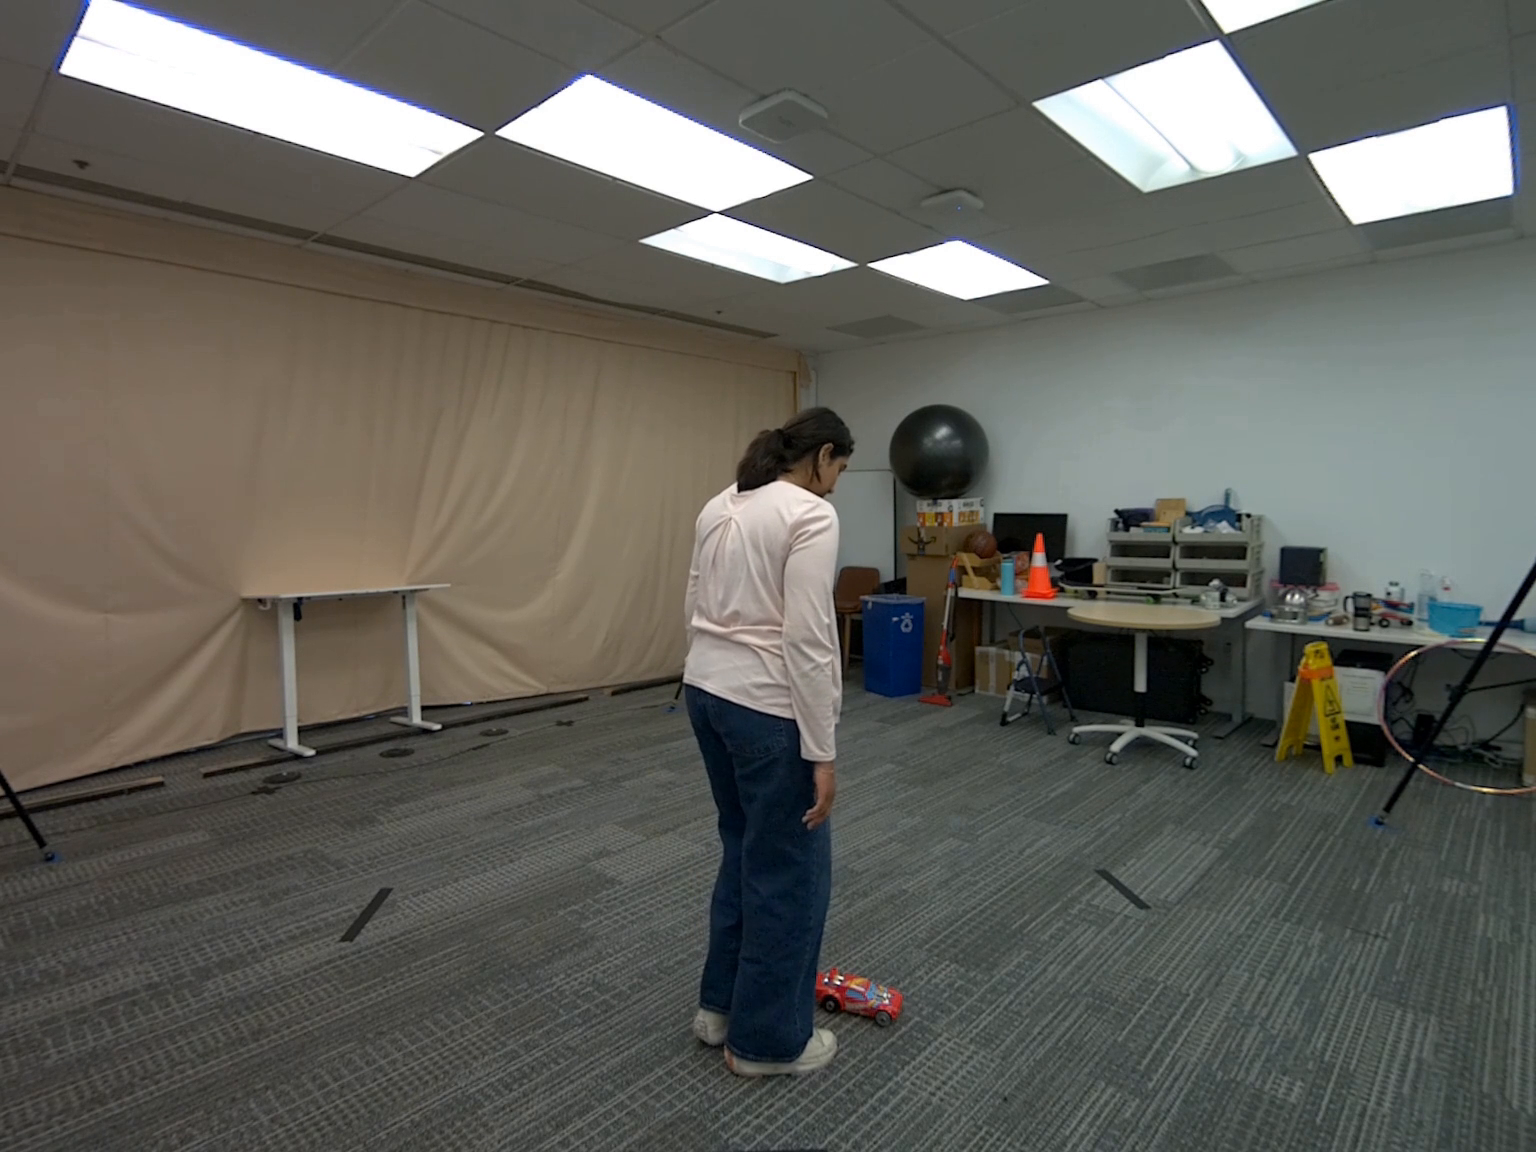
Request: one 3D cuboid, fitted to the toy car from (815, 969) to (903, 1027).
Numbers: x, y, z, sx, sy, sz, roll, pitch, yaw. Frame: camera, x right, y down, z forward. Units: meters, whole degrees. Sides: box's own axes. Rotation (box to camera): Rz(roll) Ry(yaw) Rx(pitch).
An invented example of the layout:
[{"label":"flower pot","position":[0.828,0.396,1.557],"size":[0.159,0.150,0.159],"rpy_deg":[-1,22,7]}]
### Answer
[{"label":"toy car","position":[0.244,1.170,2.330],"size":[0.261,0.083,0.127],"rpy_deg":[14,9,22]}]
